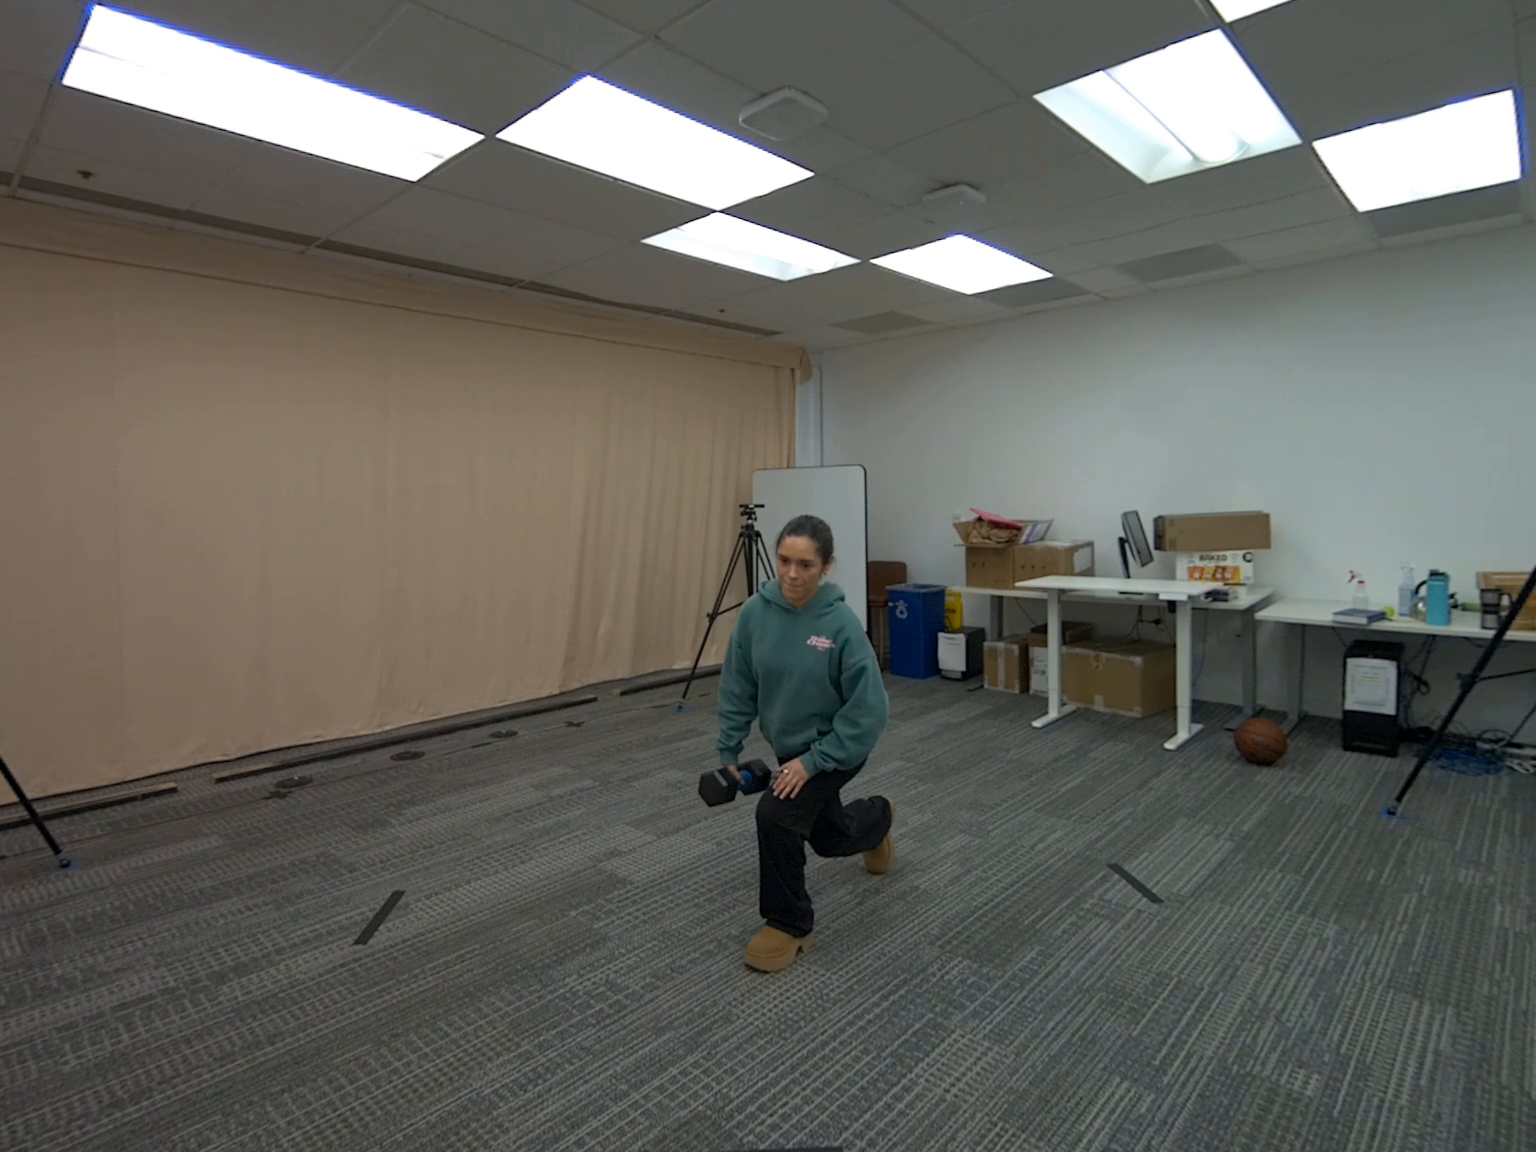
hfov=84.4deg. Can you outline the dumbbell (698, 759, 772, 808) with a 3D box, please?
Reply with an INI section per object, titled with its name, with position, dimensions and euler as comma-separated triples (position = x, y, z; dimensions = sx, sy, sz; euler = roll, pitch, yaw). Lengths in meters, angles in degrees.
[dumbbell]
position = -0.102, 0.676, 2.751
dimensions = 0.126, 0.109, 0.284
euler = 45, 20, 26
